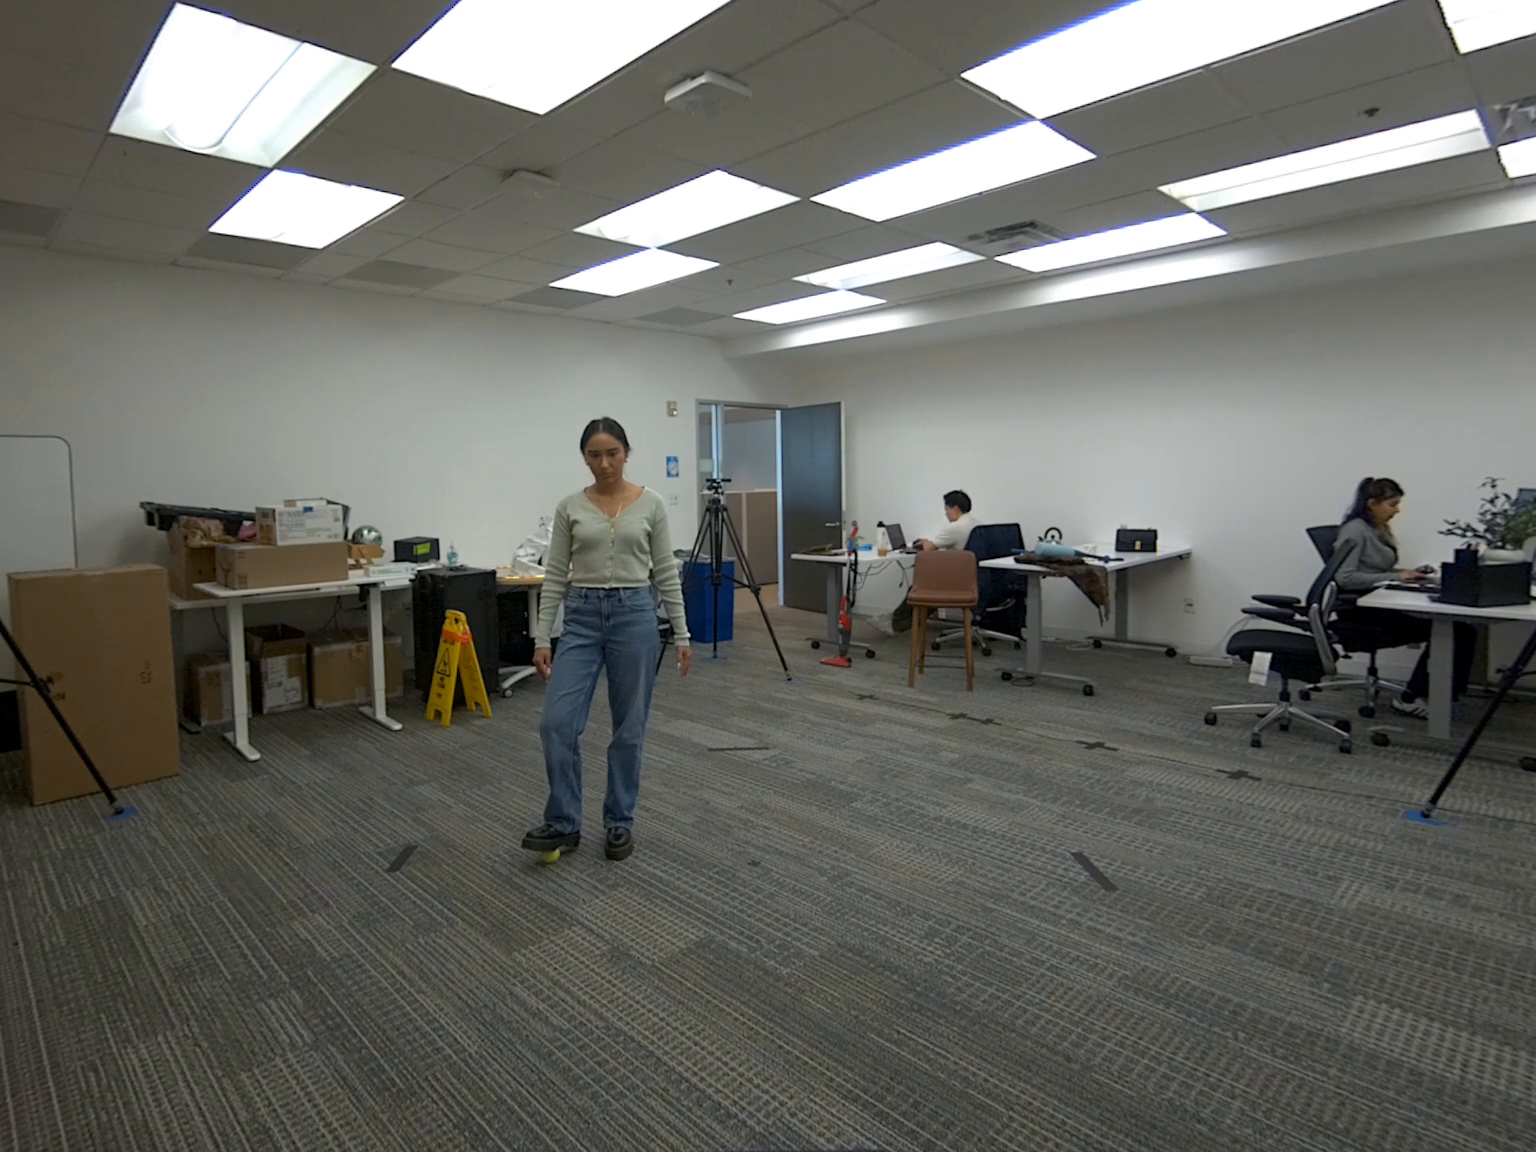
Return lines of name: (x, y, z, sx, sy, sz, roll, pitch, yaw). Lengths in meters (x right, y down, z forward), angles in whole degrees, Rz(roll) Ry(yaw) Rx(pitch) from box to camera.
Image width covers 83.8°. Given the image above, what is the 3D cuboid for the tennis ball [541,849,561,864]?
tennis ball: (-0.812, 1.038, 3.151, 0.066, 0.066, 0.067, -1, 5, -2)
